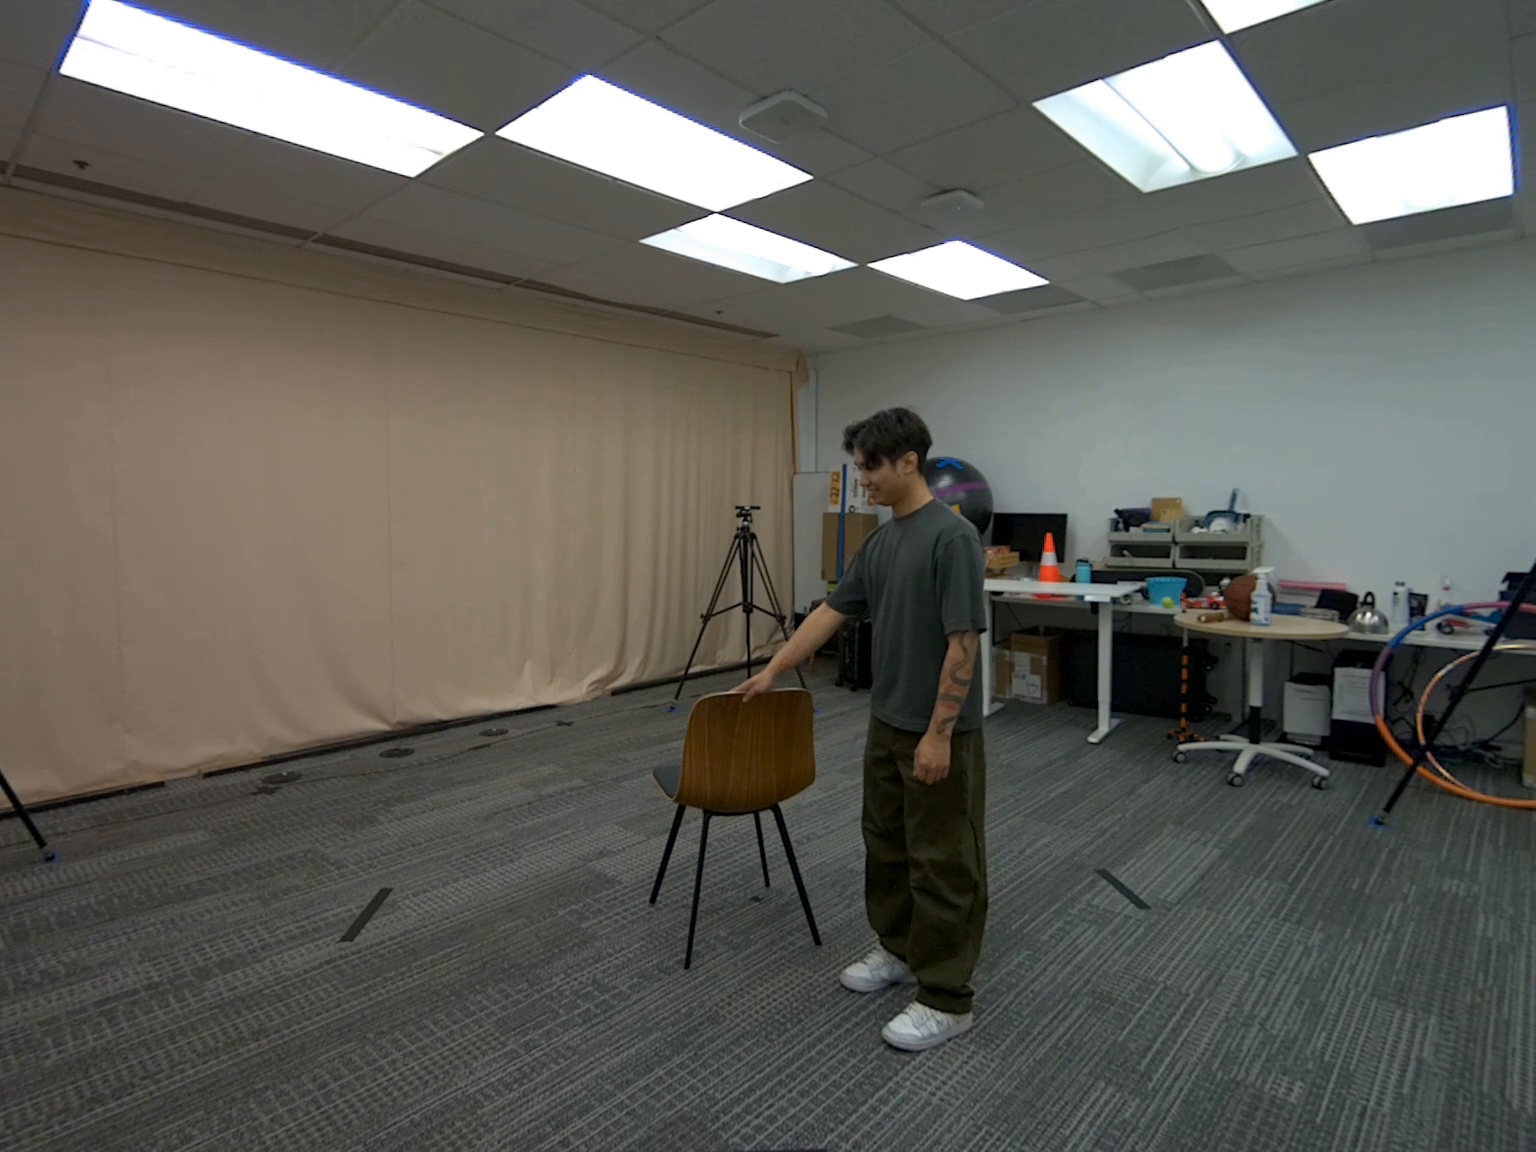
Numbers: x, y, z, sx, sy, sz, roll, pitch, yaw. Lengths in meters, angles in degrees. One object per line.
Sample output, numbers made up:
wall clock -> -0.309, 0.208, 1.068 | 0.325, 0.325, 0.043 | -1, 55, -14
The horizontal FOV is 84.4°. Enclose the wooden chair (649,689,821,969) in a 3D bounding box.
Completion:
wooden chair -> -0.124, 0.735, 2.788 | 0.469, 0.873, 0.536 | -2, 8, -20
